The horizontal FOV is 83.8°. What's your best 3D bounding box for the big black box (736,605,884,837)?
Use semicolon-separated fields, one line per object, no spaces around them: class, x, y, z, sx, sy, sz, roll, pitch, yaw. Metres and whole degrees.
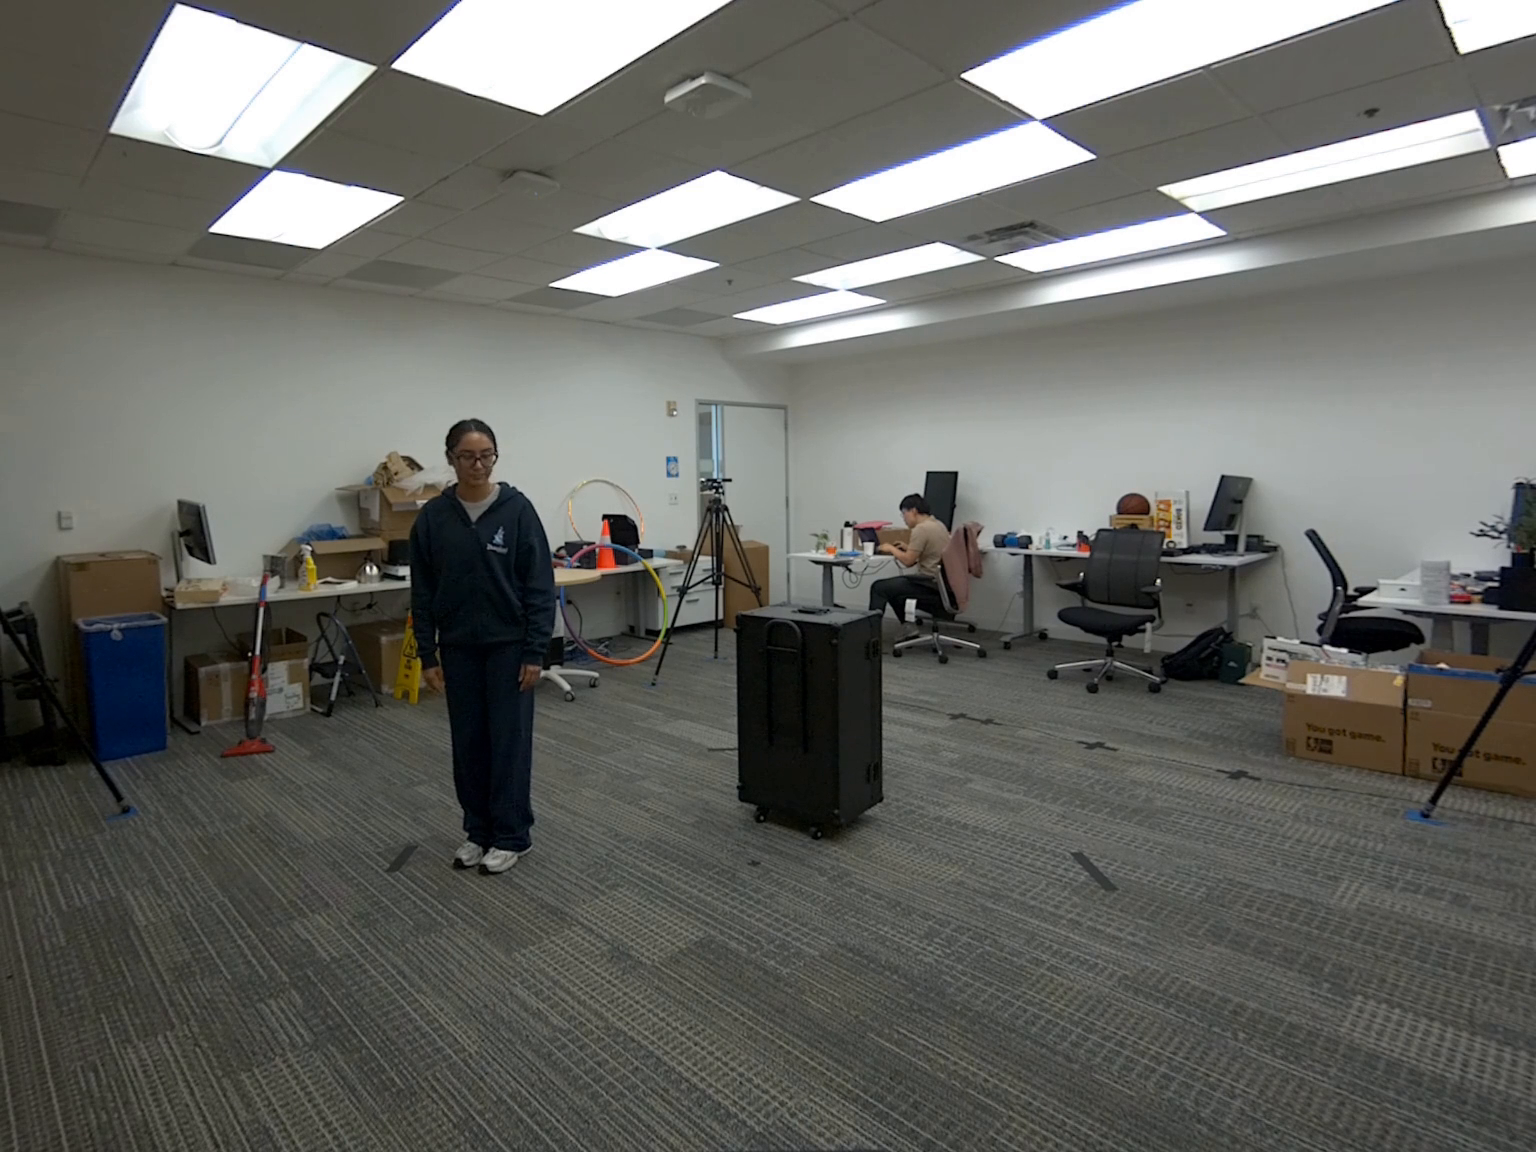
big black box;0.161;0.577;3.493;0.408;0.859;0.508;1;5;37
